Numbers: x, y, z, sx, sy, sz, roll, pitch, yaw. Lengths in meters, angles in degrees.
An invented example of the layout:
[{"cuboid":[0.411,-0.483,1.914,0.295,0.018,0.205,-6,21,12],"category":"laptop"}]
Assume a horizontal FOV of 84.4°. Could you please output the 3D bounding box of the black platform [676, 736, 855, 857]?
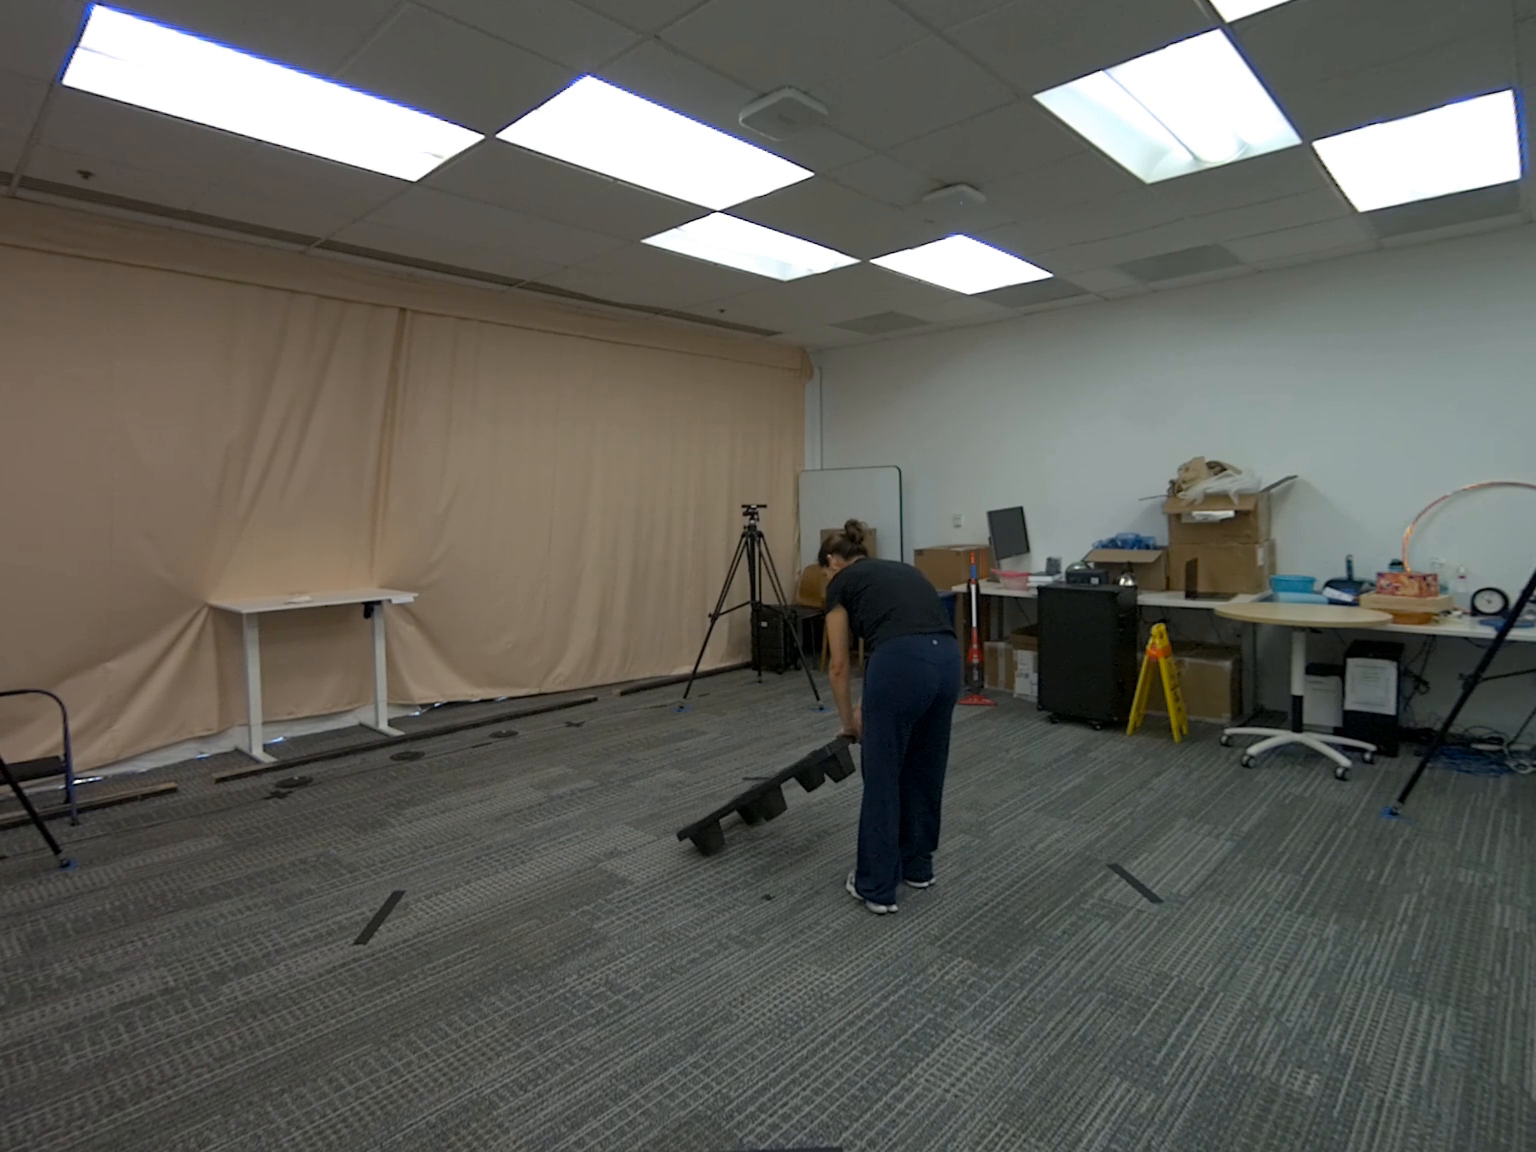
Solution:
[{"cuboid":[0.101,0.842,3.389,0.814,0.145,0.590,-36,-12,26],"category":"black platform"}]
